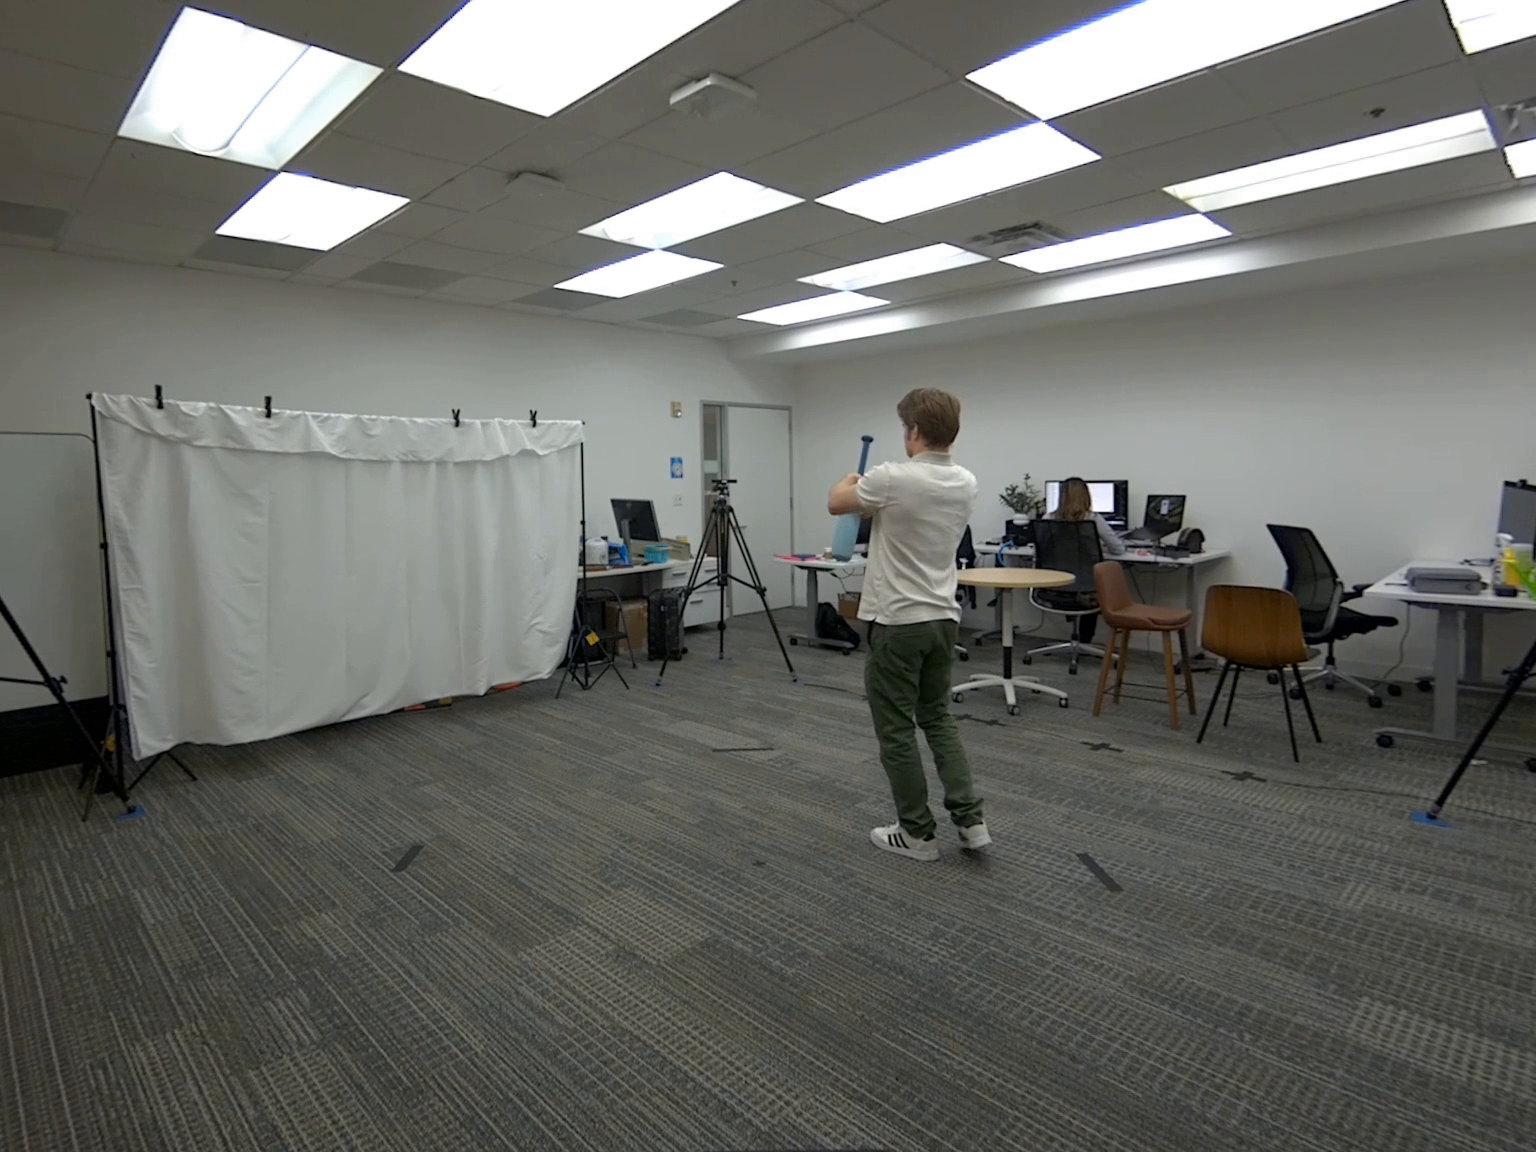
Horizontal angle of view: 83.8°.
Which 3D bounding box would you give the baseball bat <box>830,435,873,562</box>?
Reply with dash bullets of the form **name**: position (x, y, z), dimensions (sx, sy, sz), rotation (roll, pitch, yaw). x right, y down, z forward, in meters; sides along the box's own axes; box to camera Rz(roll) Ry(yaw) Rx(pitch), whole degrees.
- **baseball bat**: position (0.368, -0.330, 3.511), dimensions (0.089, 0.547, 0.088), rotation (13, -12, 1)
